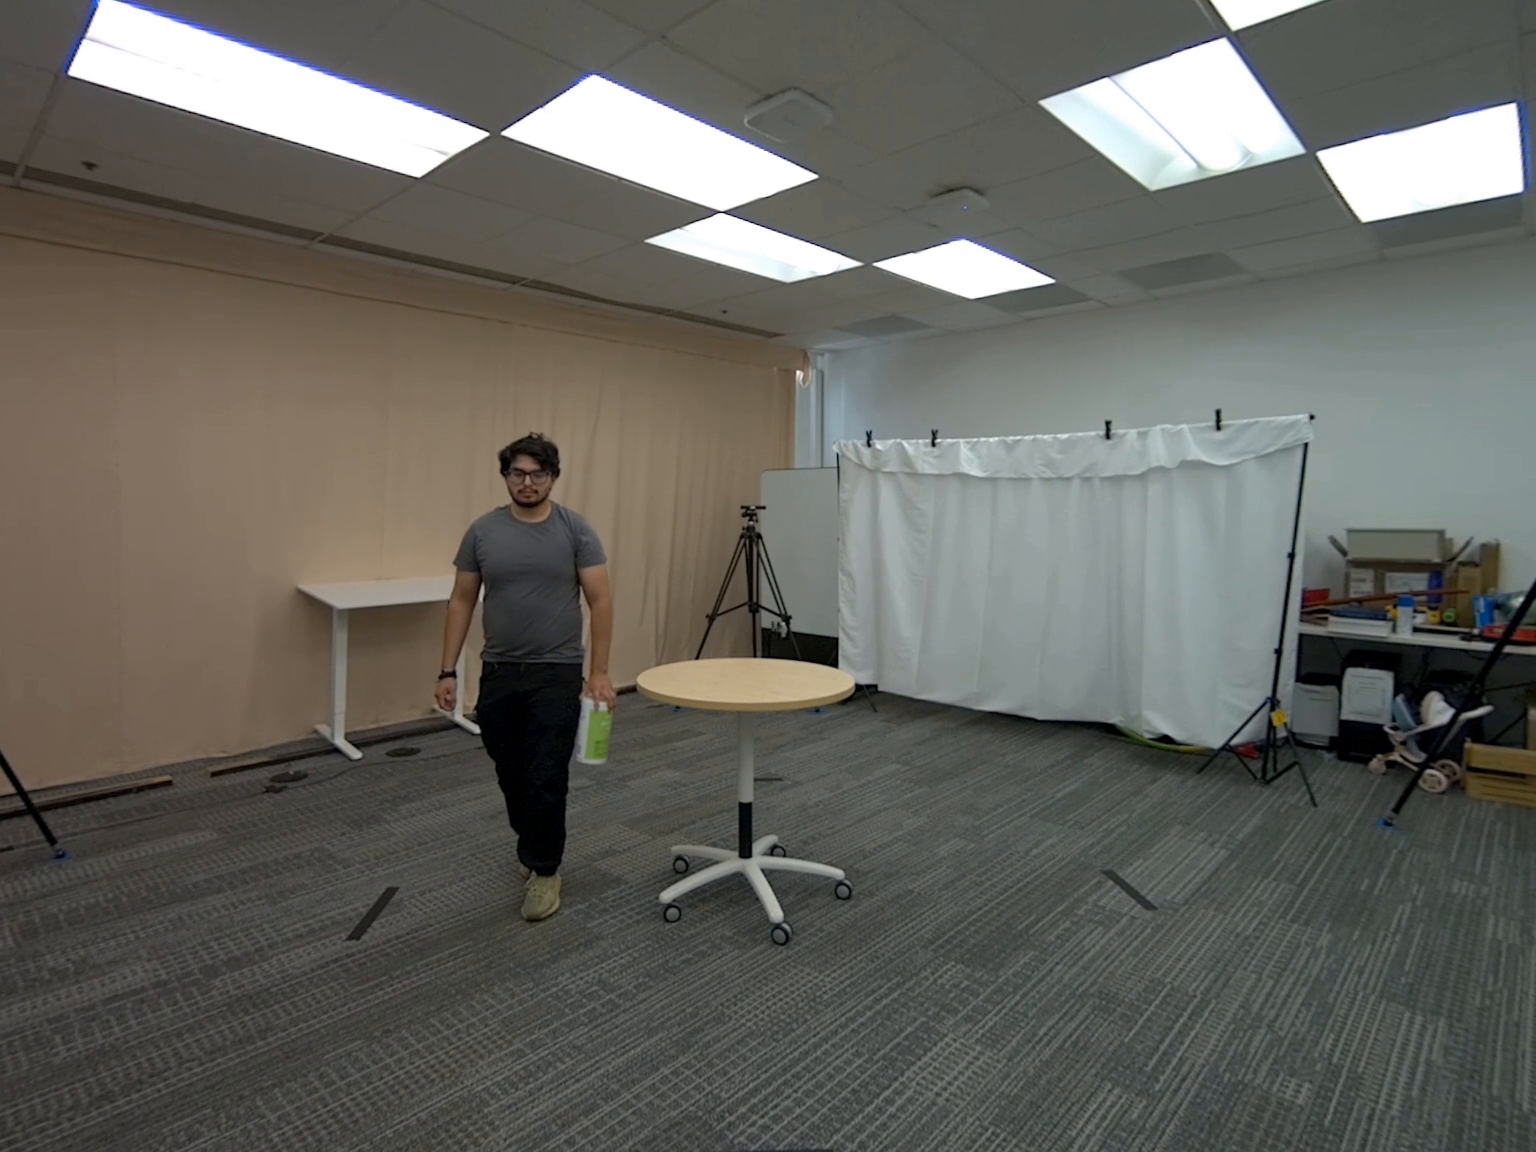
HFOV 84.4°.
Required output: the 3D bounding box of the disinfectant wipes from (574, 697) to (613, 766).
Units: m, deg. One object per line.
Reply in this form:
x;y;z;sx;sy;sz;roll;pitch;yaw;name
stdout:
-0.586;0.525;2.857;0.118;0.217;0.118;7;-1;-2;disinfectant wipes
